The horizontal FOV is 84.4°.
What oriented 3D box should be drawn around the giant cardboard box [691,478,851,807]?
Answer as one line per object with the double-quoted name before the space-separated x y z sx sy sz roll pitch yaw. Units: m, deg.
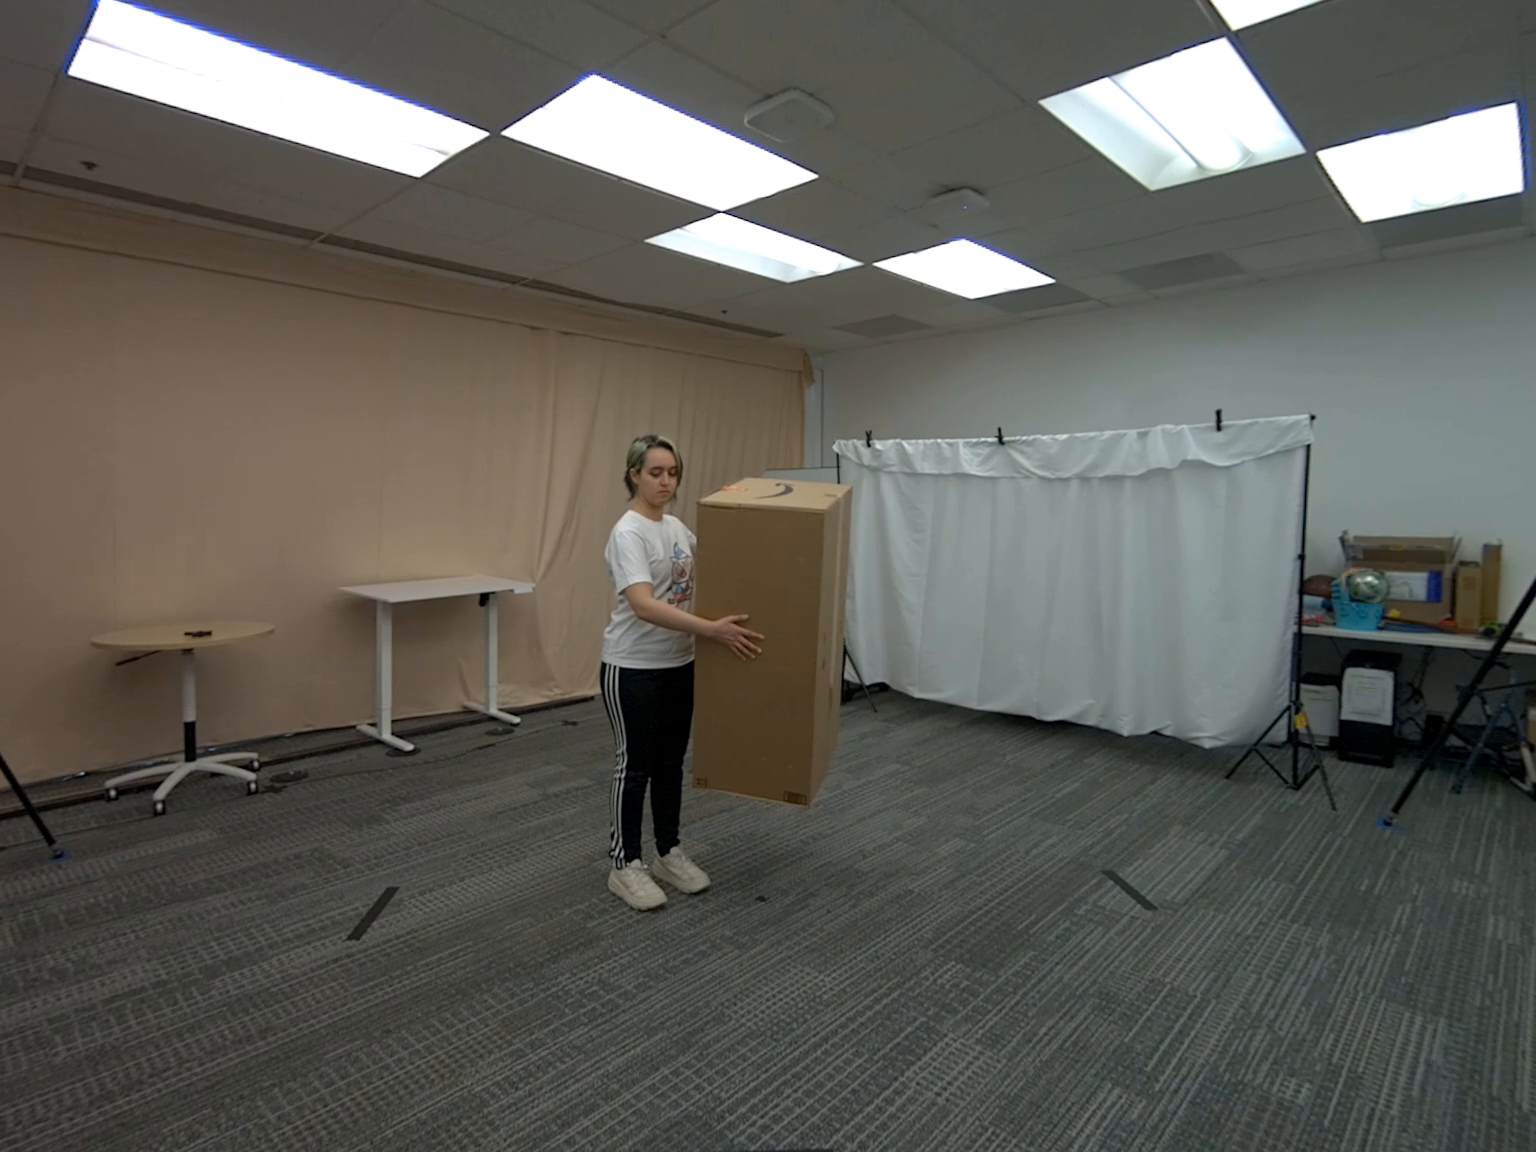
"giant cardboard box" 0.025 0.207 3.023 0.434 1.018 0.571 6 14 16
